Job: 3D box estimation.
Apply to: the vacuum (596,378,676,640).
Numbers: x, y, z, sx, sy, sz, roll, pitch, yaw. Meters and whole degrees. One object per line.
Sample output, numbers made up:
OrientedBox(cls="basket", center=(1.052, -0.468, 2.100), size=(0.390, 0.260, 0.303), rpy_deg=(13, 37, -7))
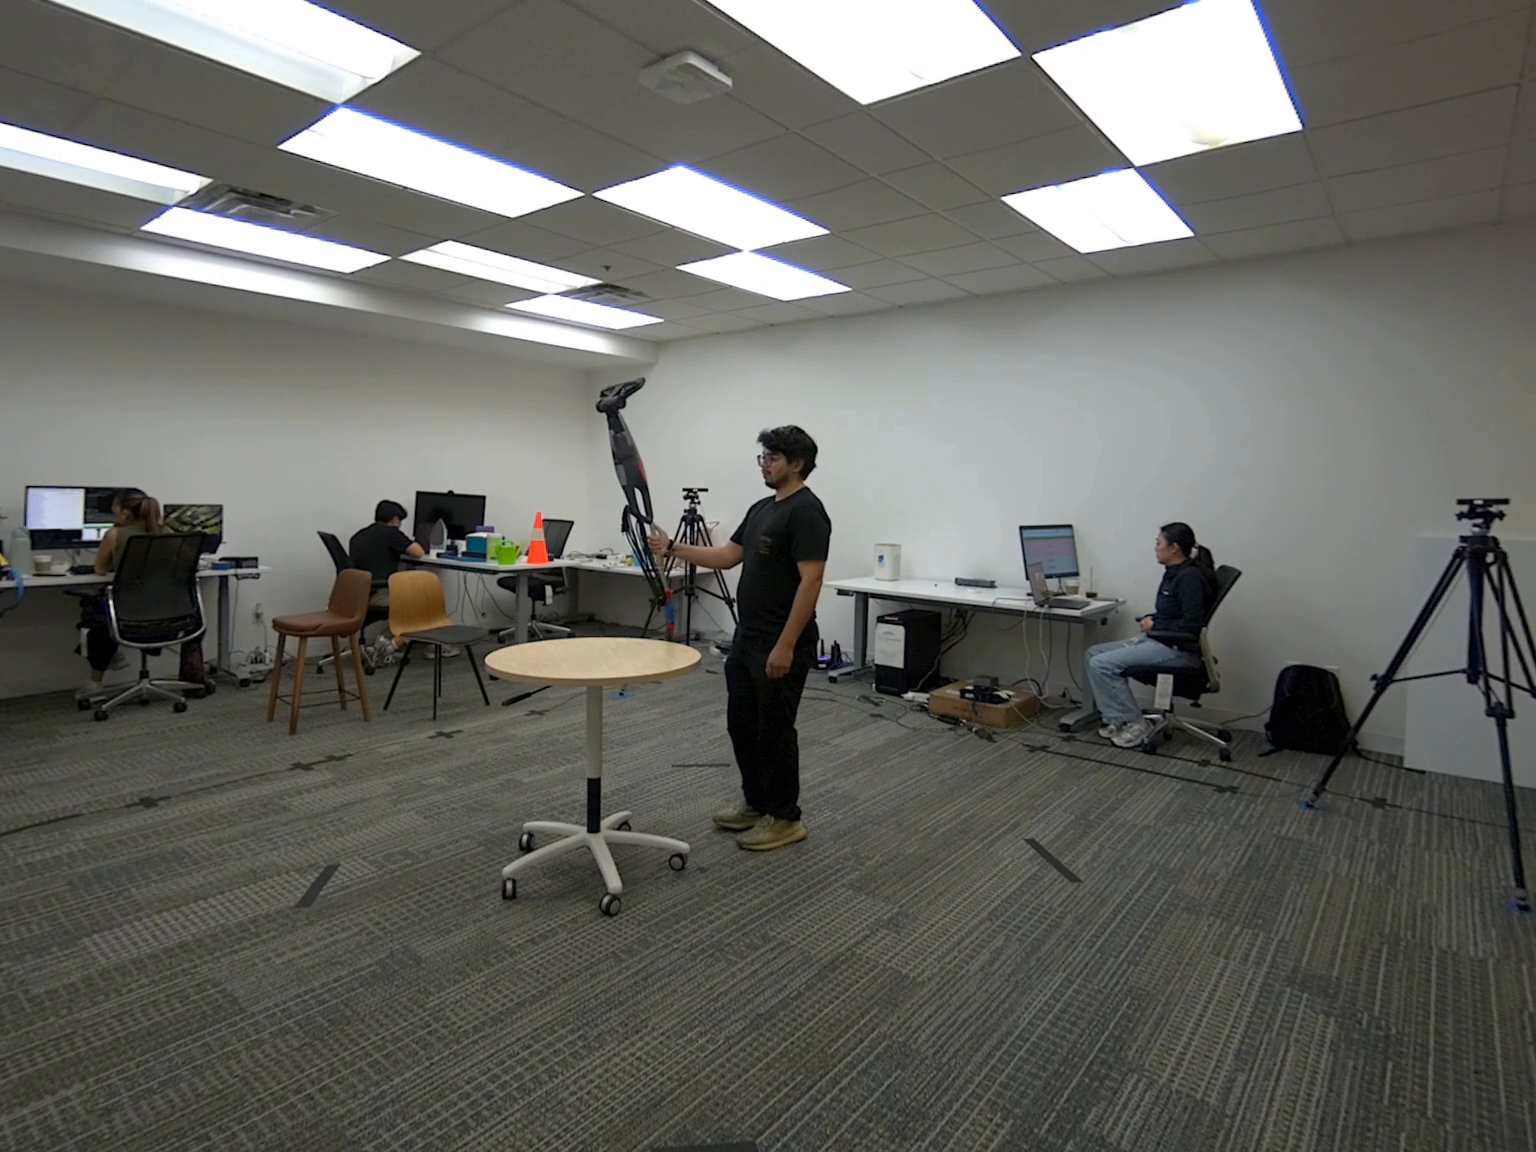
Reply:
OrientedBox(cls="vacuum", center=(-0.525, -0.223, 3.431), size=(0.141, 1.040, 0.260), rpy_deg=(-17, 11, -43))
